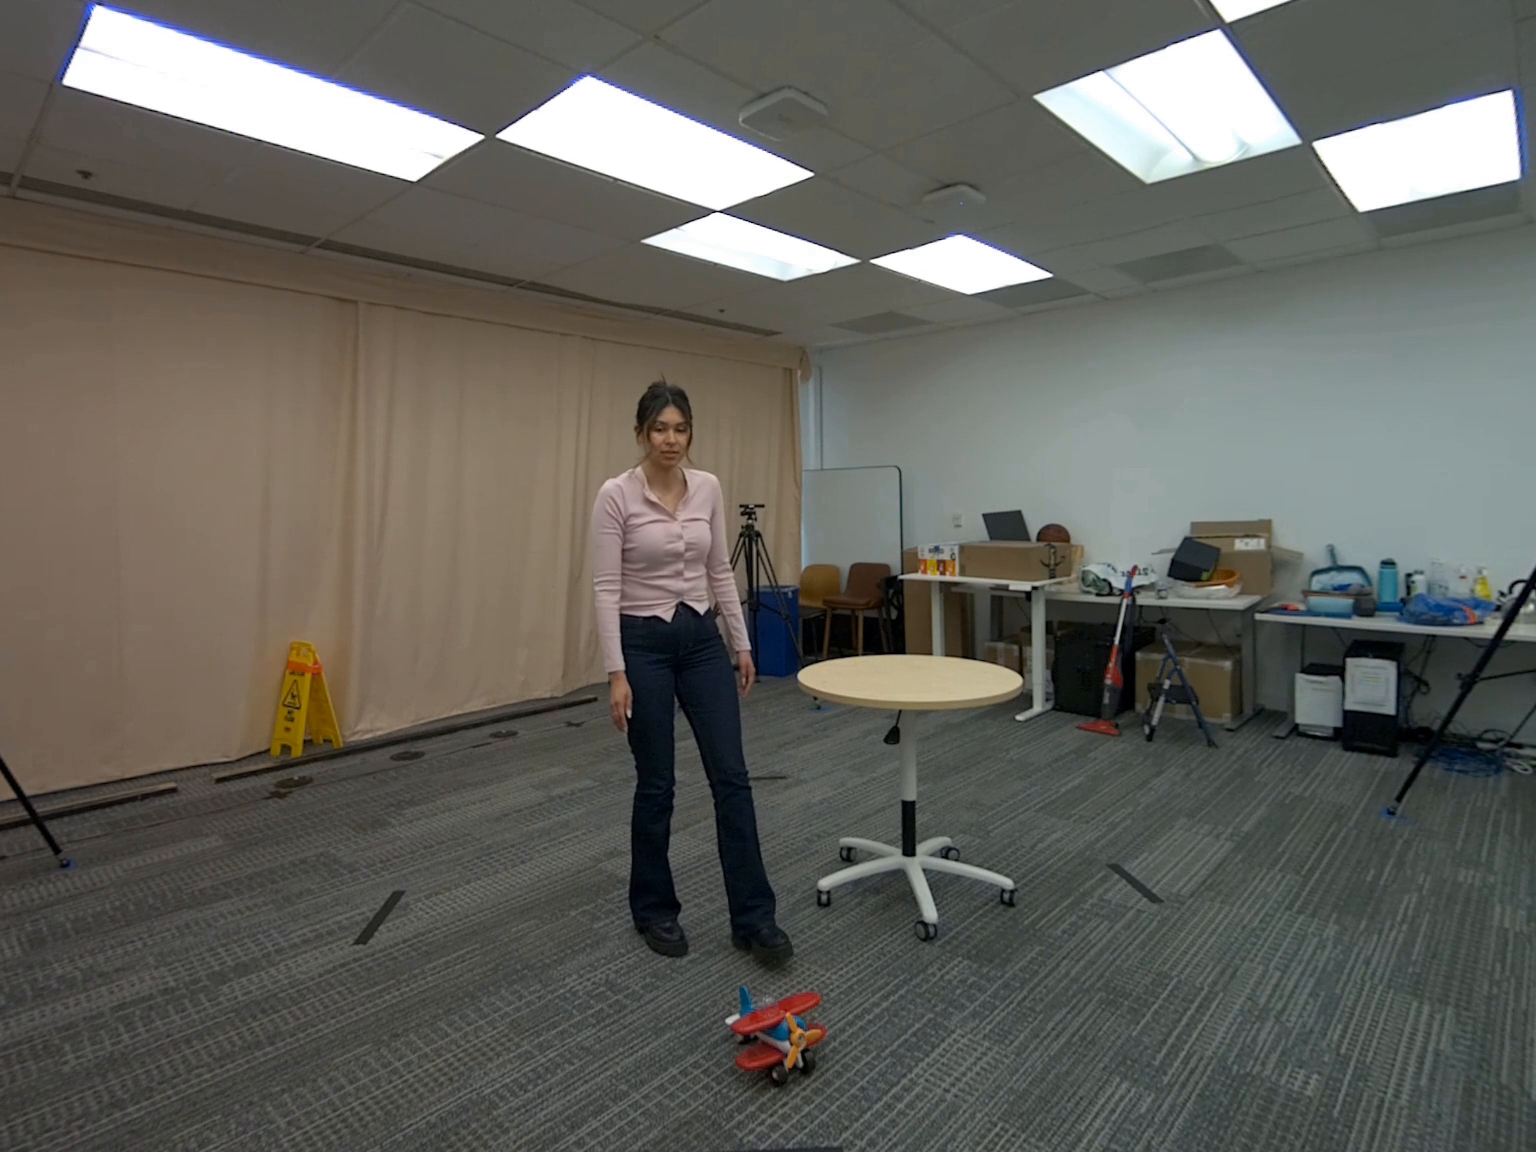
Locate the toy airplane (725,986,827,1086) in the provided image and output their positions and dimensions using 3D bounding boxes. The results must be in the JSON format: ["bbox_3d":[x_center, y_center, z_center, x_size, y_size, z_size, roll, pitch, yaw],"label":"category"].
[{"bbox_3d":[0.003,1.148,2.089,0.266,0.156,0.245,3,6,27],"label":"toy airplane"}]
